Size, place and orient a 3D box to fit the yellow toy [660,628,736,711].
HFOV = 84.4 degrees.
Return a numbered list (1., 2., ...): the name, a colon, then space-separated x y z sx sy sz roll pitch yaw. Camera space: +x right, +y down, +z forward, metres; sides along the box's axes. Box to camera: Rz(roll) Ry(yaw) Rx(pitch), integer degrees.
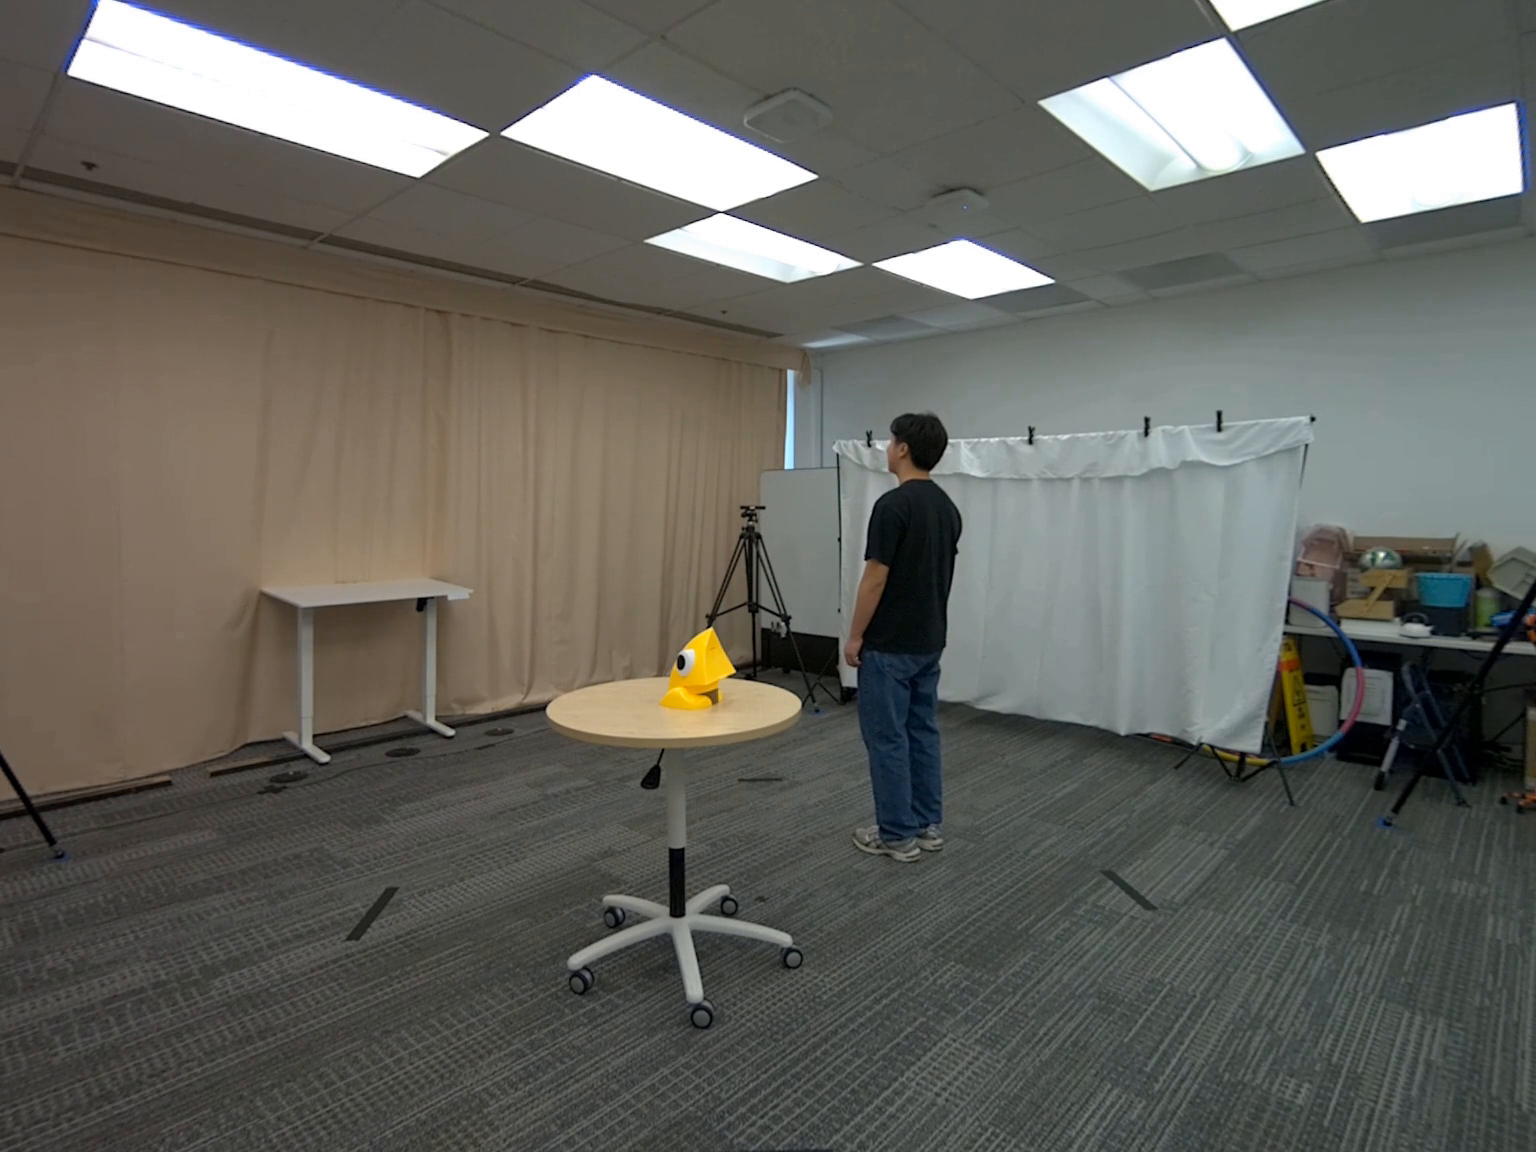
1. yellow toy: -0.221 0.271 2.558 0.198 0.230 0.200 1 5 24
